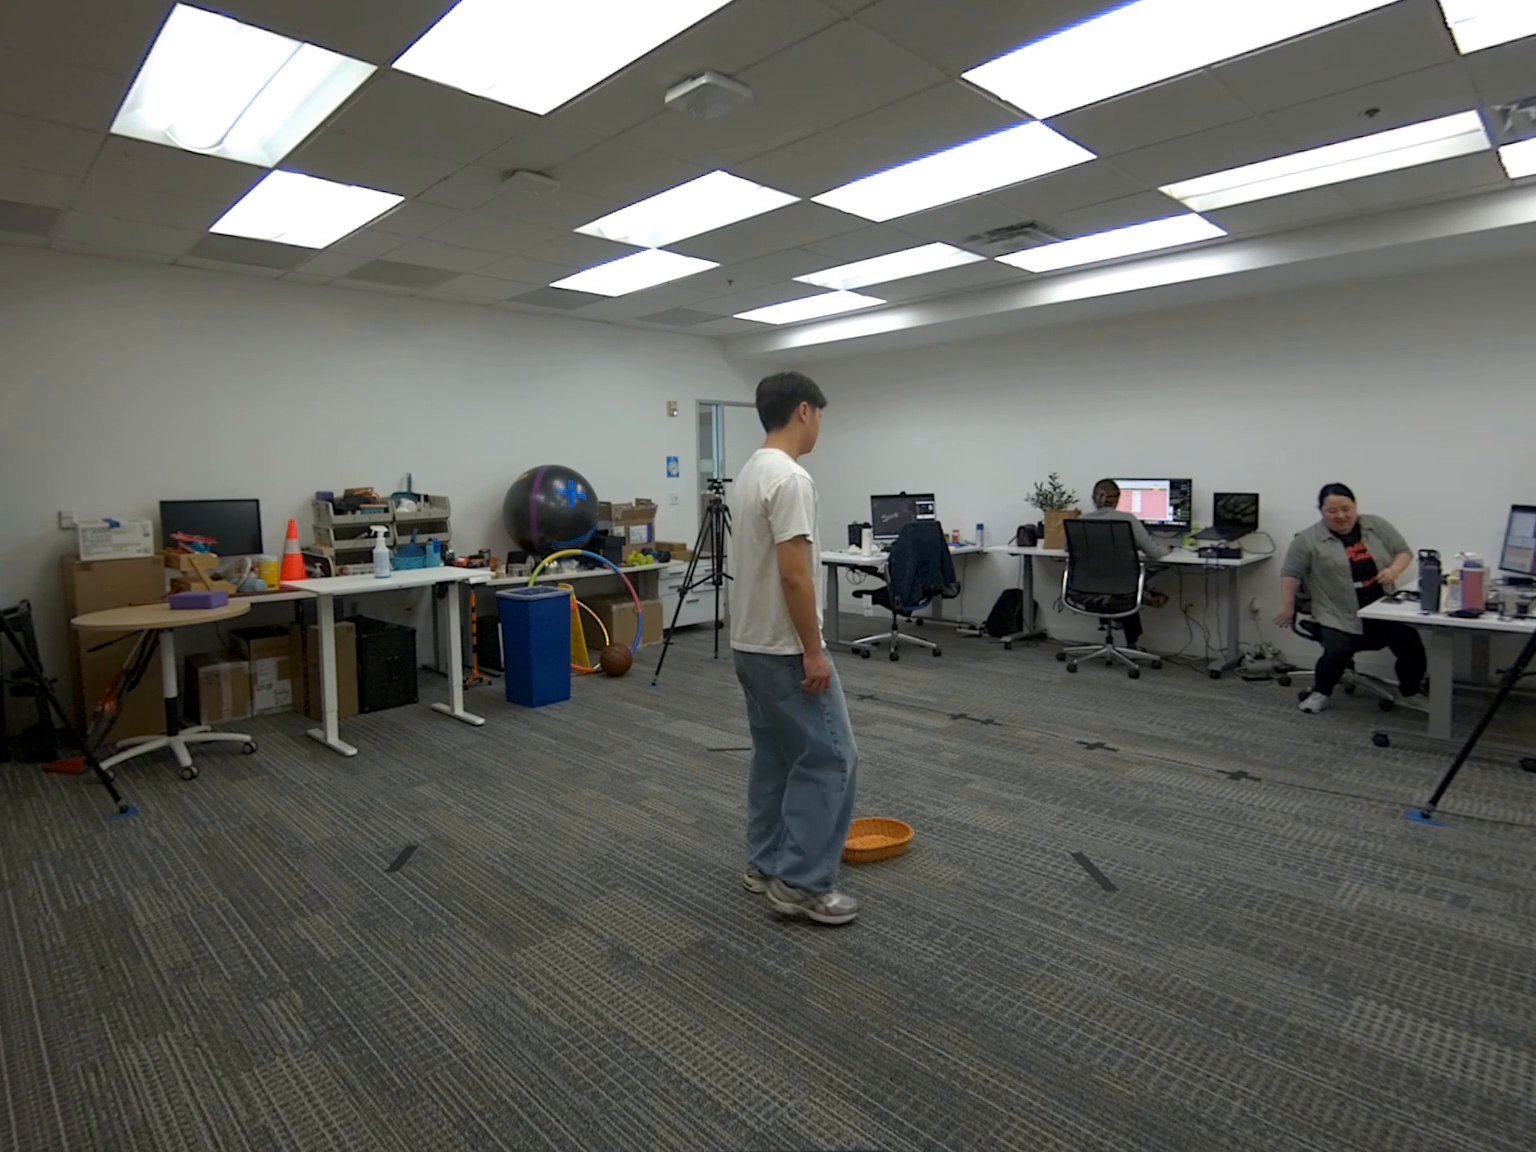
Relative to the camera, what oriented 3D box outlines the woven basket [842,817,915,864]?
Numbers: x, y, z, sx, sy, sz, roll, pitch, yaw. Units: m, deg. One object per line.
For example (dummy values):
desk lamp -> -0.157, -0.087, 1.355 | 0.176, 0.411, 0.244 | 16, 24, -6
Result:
woven basket -> 0.377, 0.986, 3.197 | 0.345, 0.073, 0.257 | -3, 6, -17
